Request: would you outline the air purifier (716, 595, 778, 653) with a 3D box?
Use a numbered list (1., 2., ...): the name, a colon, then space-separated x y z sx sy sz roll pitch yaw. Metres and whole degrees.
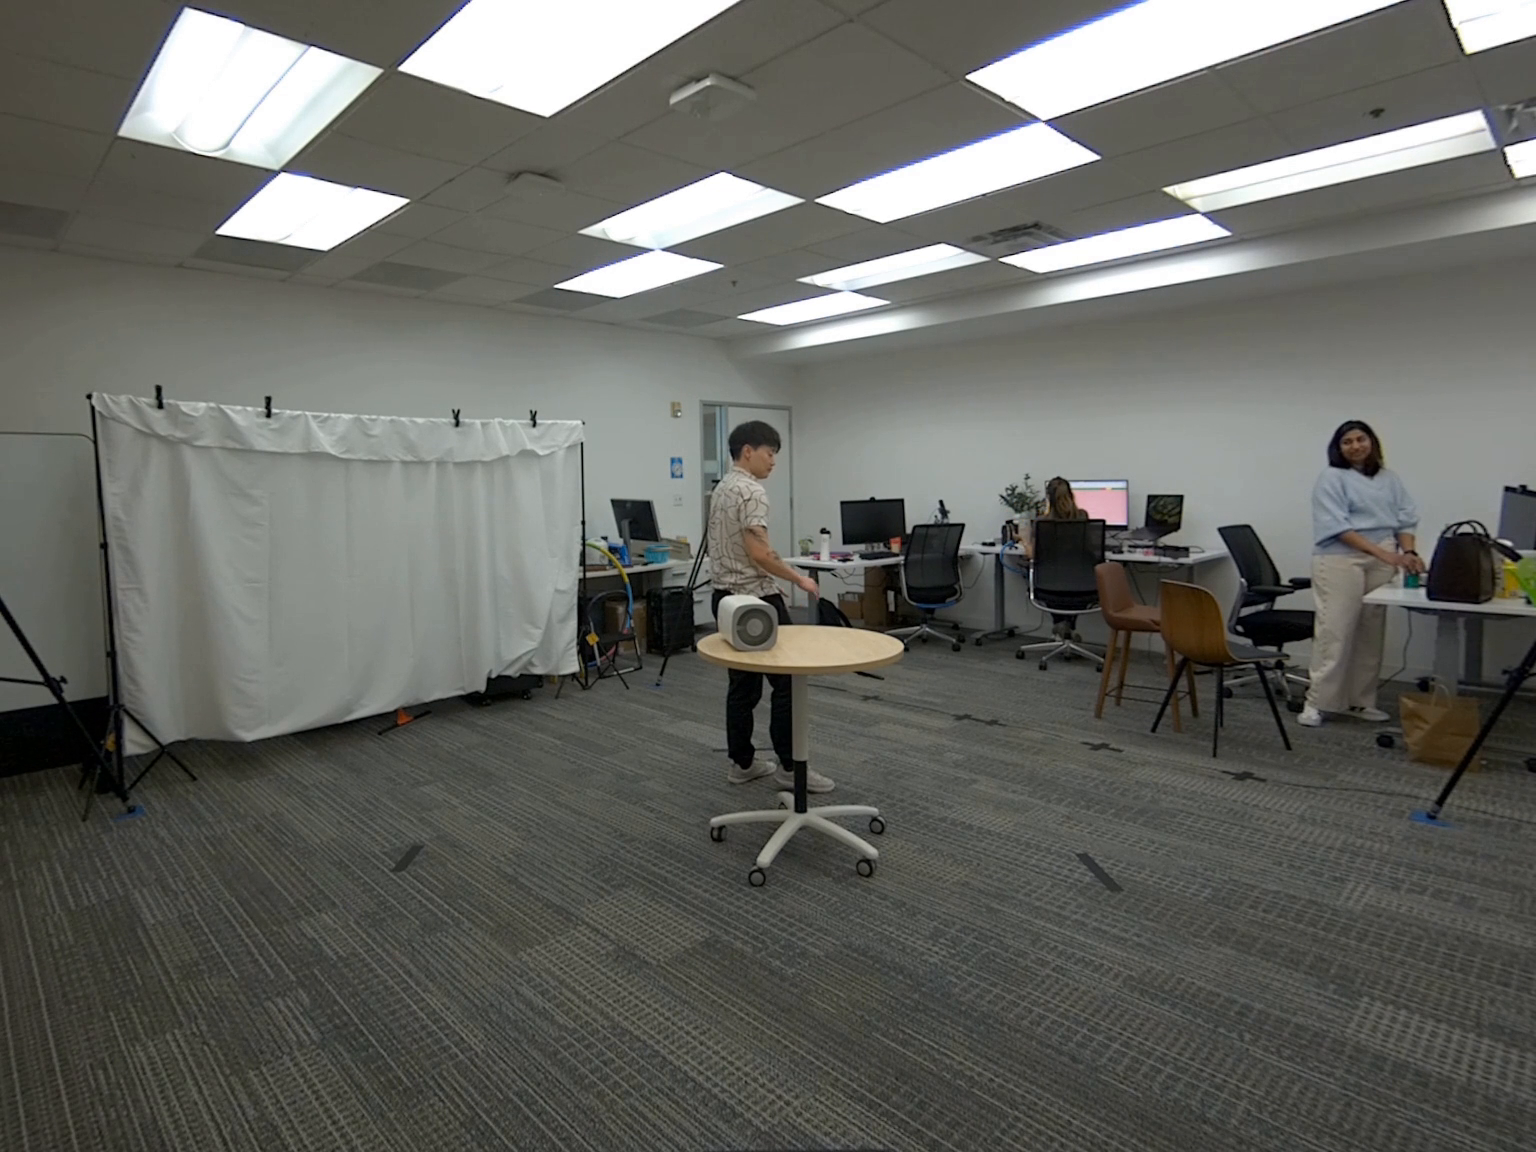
1. air purifier: -0.085 0.172 3.182 0.169 0.170 0.270 -2 6 -15
